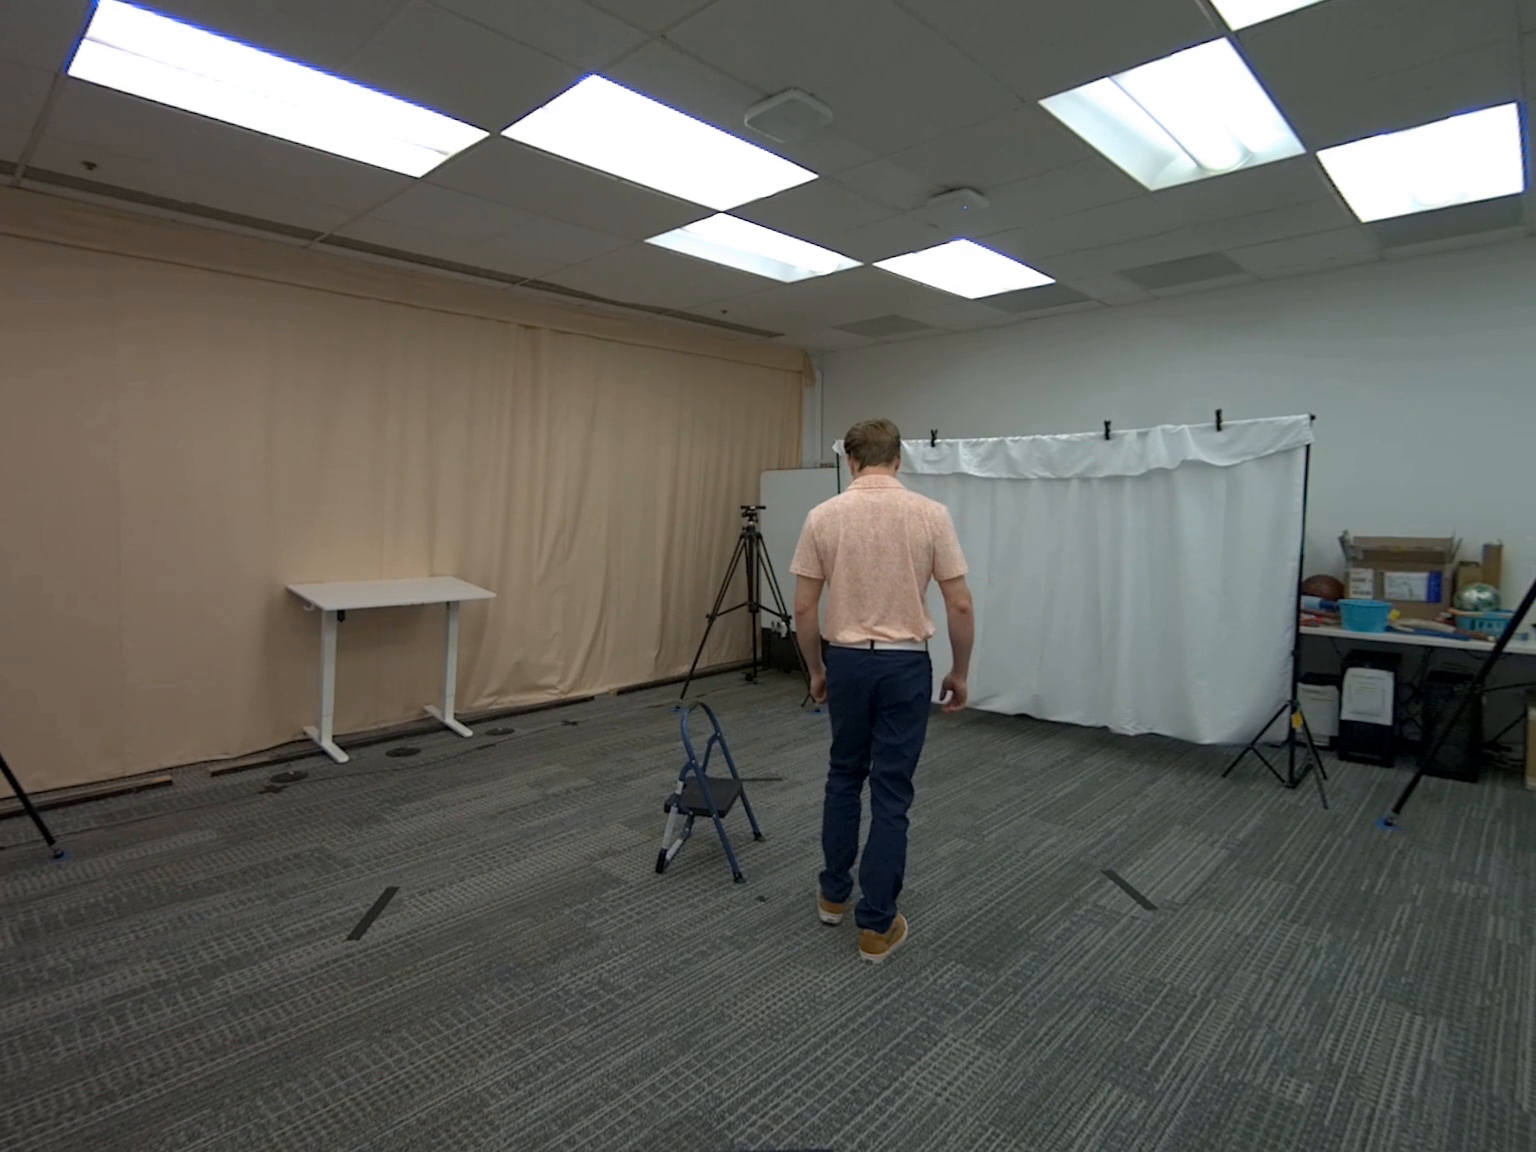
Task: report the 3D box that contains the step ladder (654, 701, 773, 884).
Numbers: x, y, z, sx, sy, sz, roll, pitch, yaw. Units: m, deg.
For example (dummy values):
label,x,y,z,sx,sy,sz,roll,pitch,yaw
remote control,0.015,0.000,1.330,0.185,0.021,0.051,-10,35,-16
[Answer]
label,x,y,z,sx,sy,sz,roll,pitch,yaw
step ladder,-0.225,0.813,3.338,0.354,0.605,0.426,0,3,11
